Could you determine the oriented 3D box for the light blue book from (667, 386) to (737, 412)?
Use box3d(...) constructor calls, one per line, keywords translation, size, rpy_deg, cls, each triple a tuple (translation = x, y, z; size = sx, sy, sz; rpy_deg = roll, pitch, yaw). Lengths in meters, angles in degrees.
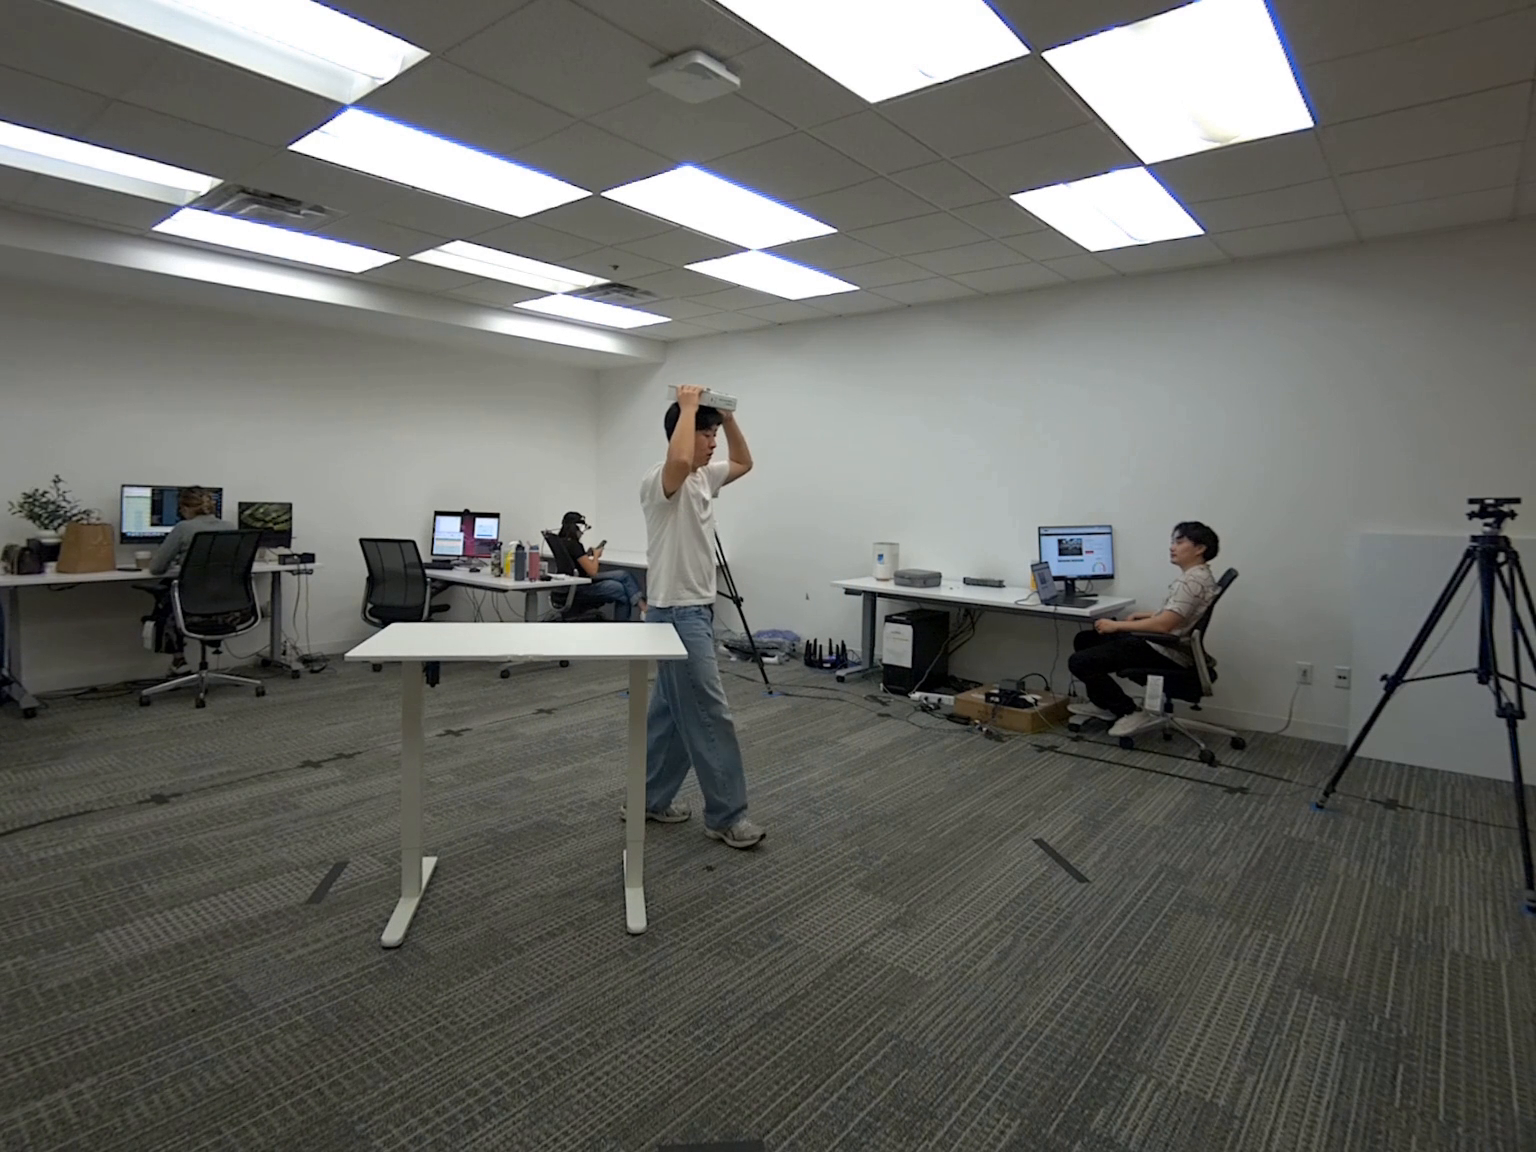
box3d(translation=(-0.278, -0.710, 3.380), size=(0.196, 0.058, 0.256), rpy_deg=(14, 10, 21), cls="light blue book")
